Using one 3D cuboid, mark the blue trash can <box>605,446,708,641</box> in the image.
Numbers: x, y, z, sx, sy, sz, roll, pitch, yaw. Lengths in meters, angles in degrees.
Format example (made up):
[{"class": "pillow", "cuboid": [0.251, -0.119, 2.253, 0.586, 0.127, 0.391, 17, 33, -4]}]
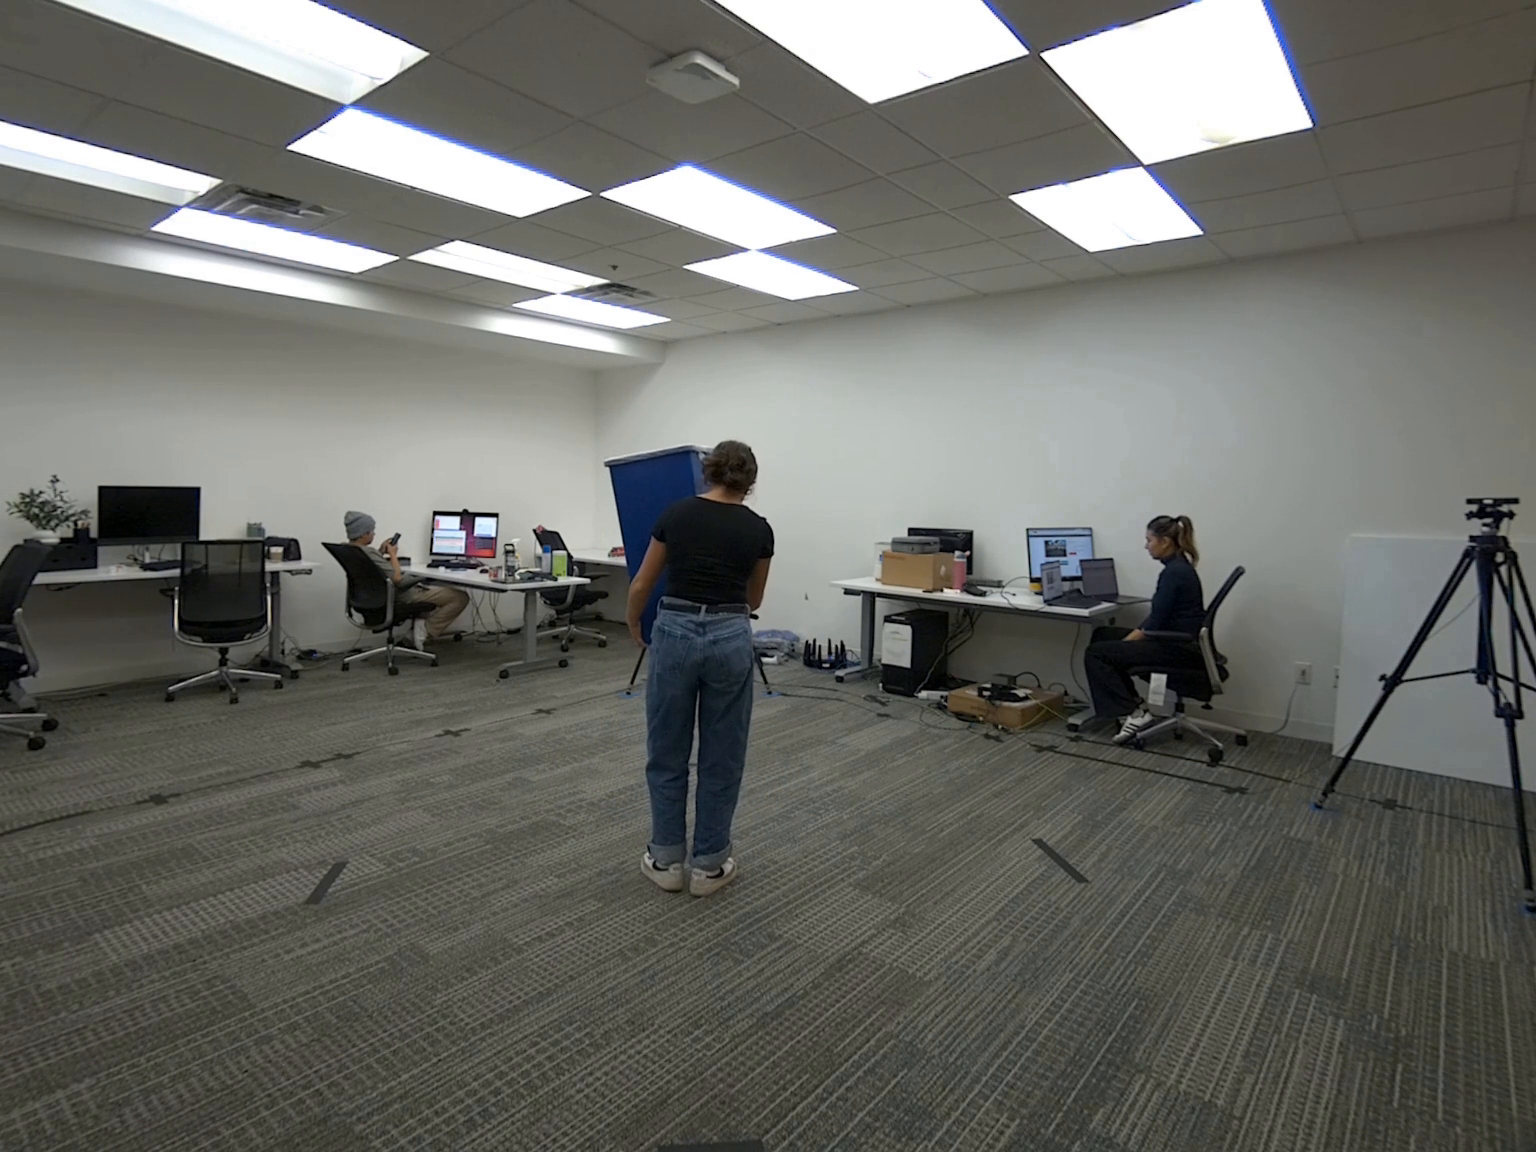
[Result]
[{"class": "blue trash can", "cuboid": [-0.368, -0.126, 3.306, 0.380, 0.713, 0.372, -7, 1, 17]}]
